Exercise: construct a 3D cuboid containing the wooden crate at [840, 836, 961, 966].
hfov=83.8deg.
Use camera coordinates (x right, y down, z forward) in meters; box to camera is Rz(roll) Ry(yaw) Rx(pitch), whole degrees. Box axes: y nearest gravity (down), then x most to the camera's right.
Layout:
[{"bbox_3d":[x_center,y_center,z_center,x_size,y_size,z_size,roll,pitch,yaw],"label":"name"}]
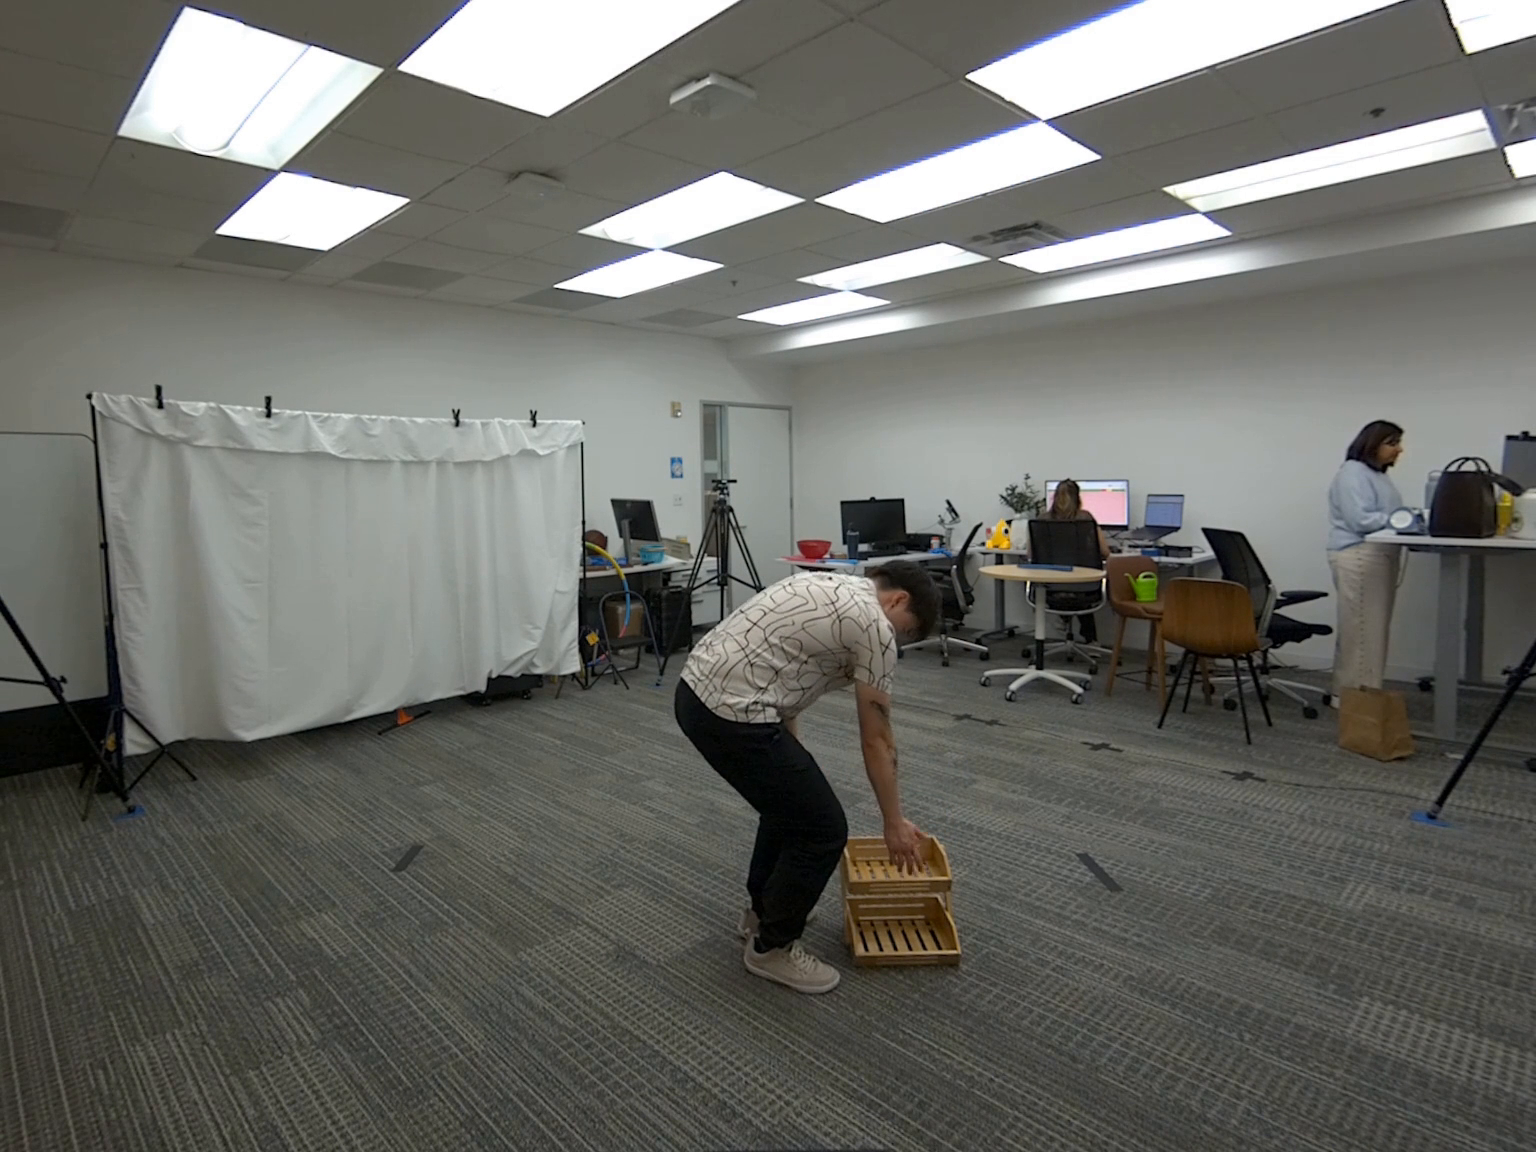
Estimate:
[{"bbox_3d":[0.390,0.969,2.558,0.324,0.272,0.304,-2,5,-2],"label":"wooden crate"}]
